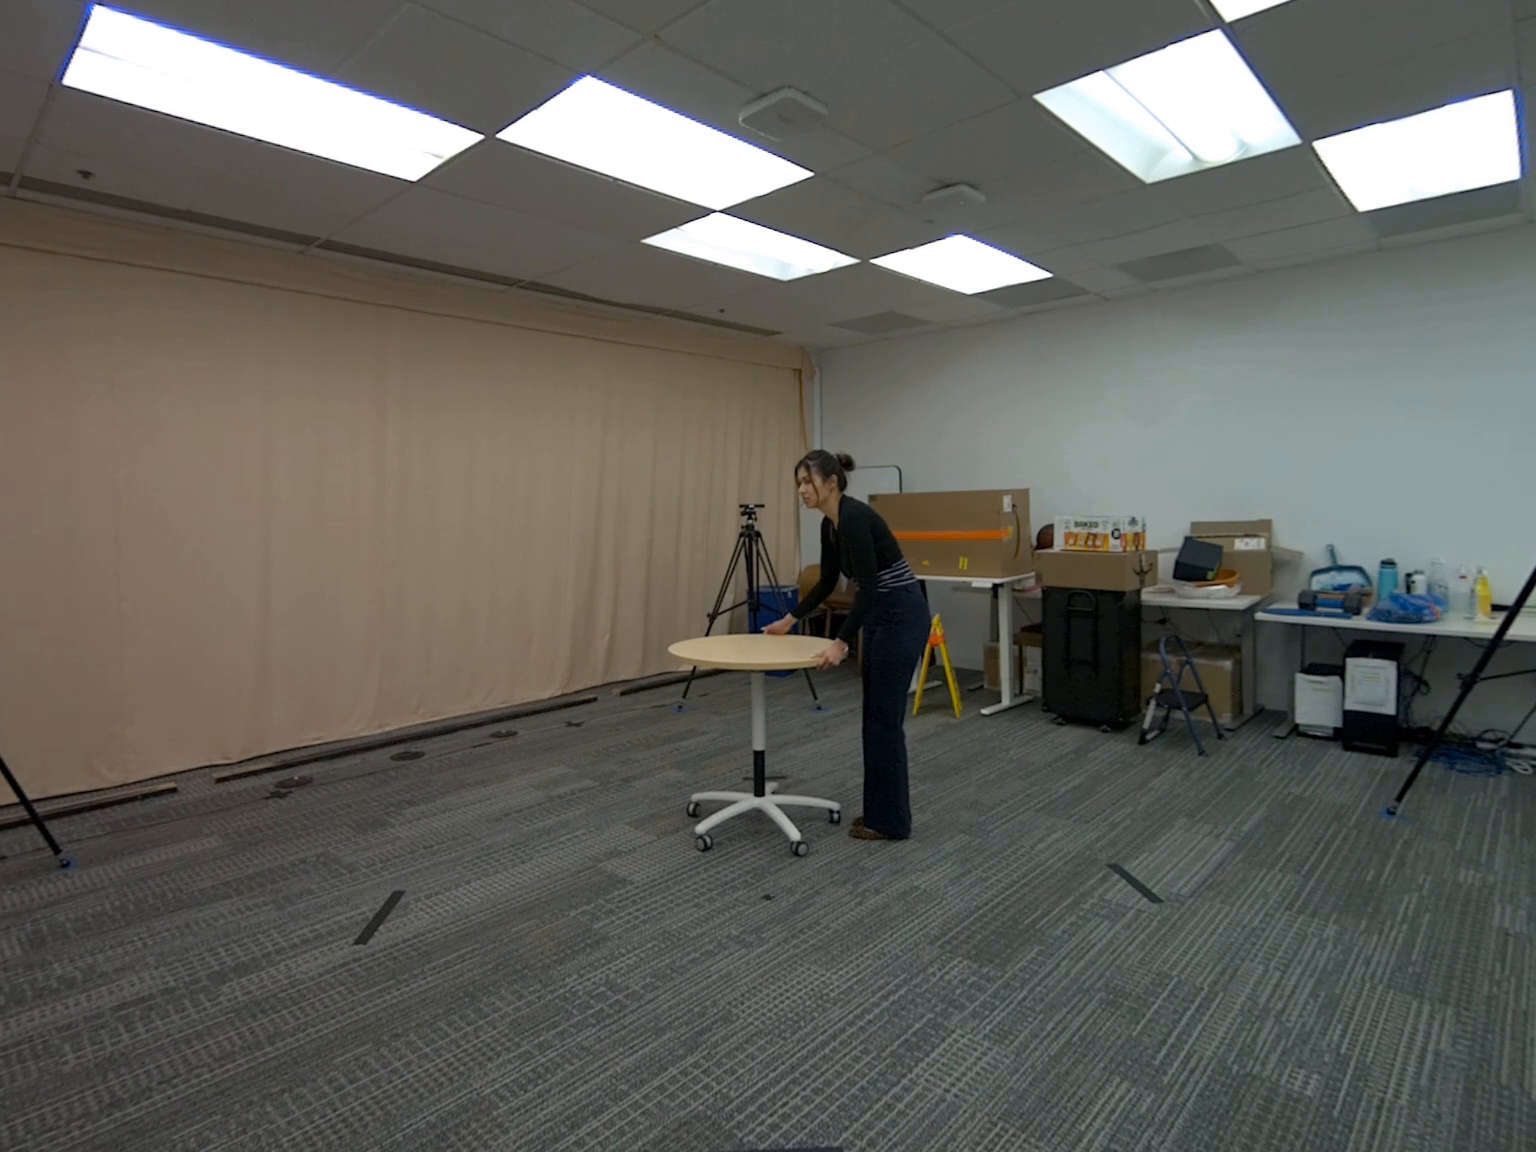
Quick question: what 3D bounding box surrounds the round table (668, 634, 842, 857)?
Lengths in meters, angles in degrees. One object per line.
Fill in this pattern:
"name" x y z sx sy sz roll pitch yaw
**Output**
"round table" -0.043 0.699 3.617 0.763 0.792 0.766 0 3 -2
